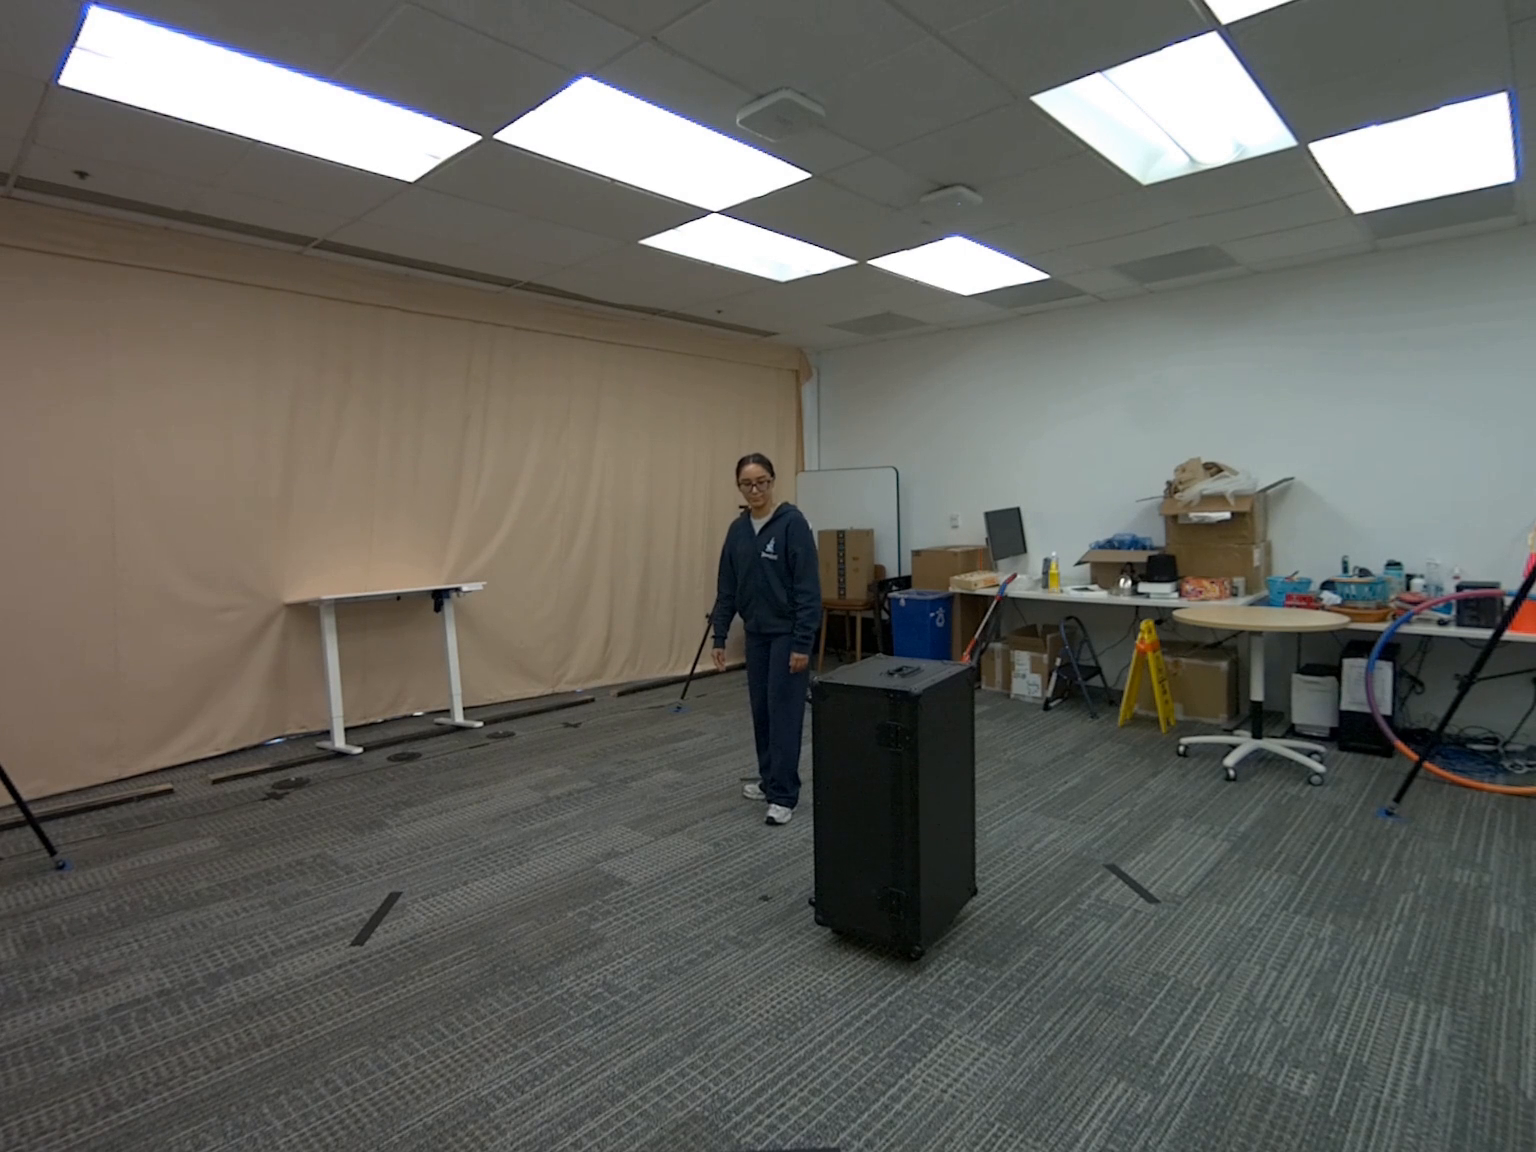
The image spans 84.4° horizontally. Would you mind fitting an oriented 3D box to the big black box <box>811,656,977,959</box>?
[{"bbox_3d":[0.423,0.738,2.733,0.537,0.860,0.385,1,3,35],"label":"big black box"}]
